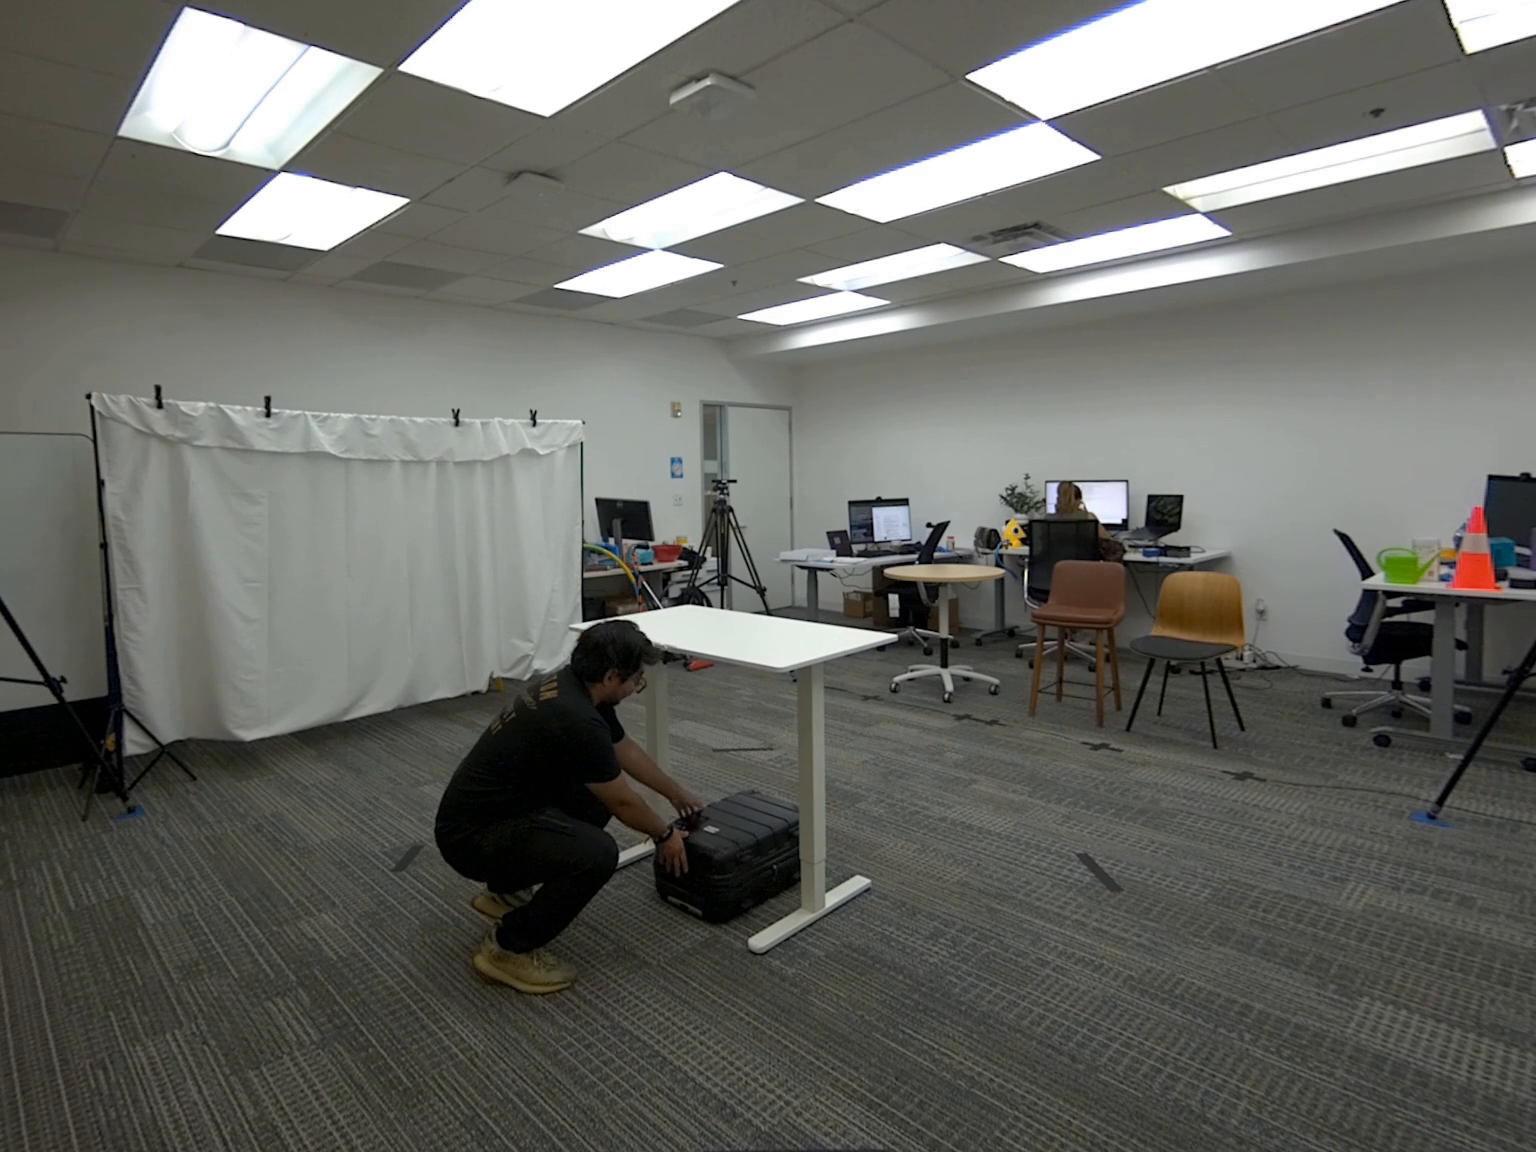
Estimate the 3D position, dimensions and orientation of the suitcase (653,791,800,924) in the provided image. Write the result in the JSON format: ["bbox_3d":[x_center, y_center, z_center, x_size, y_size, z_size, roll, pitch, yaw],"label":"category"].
[{"bbox_3d":[-0.109,0.948,2.947,0.387,0.247,0.535,5,8,41],"label":"suitcase"}]
